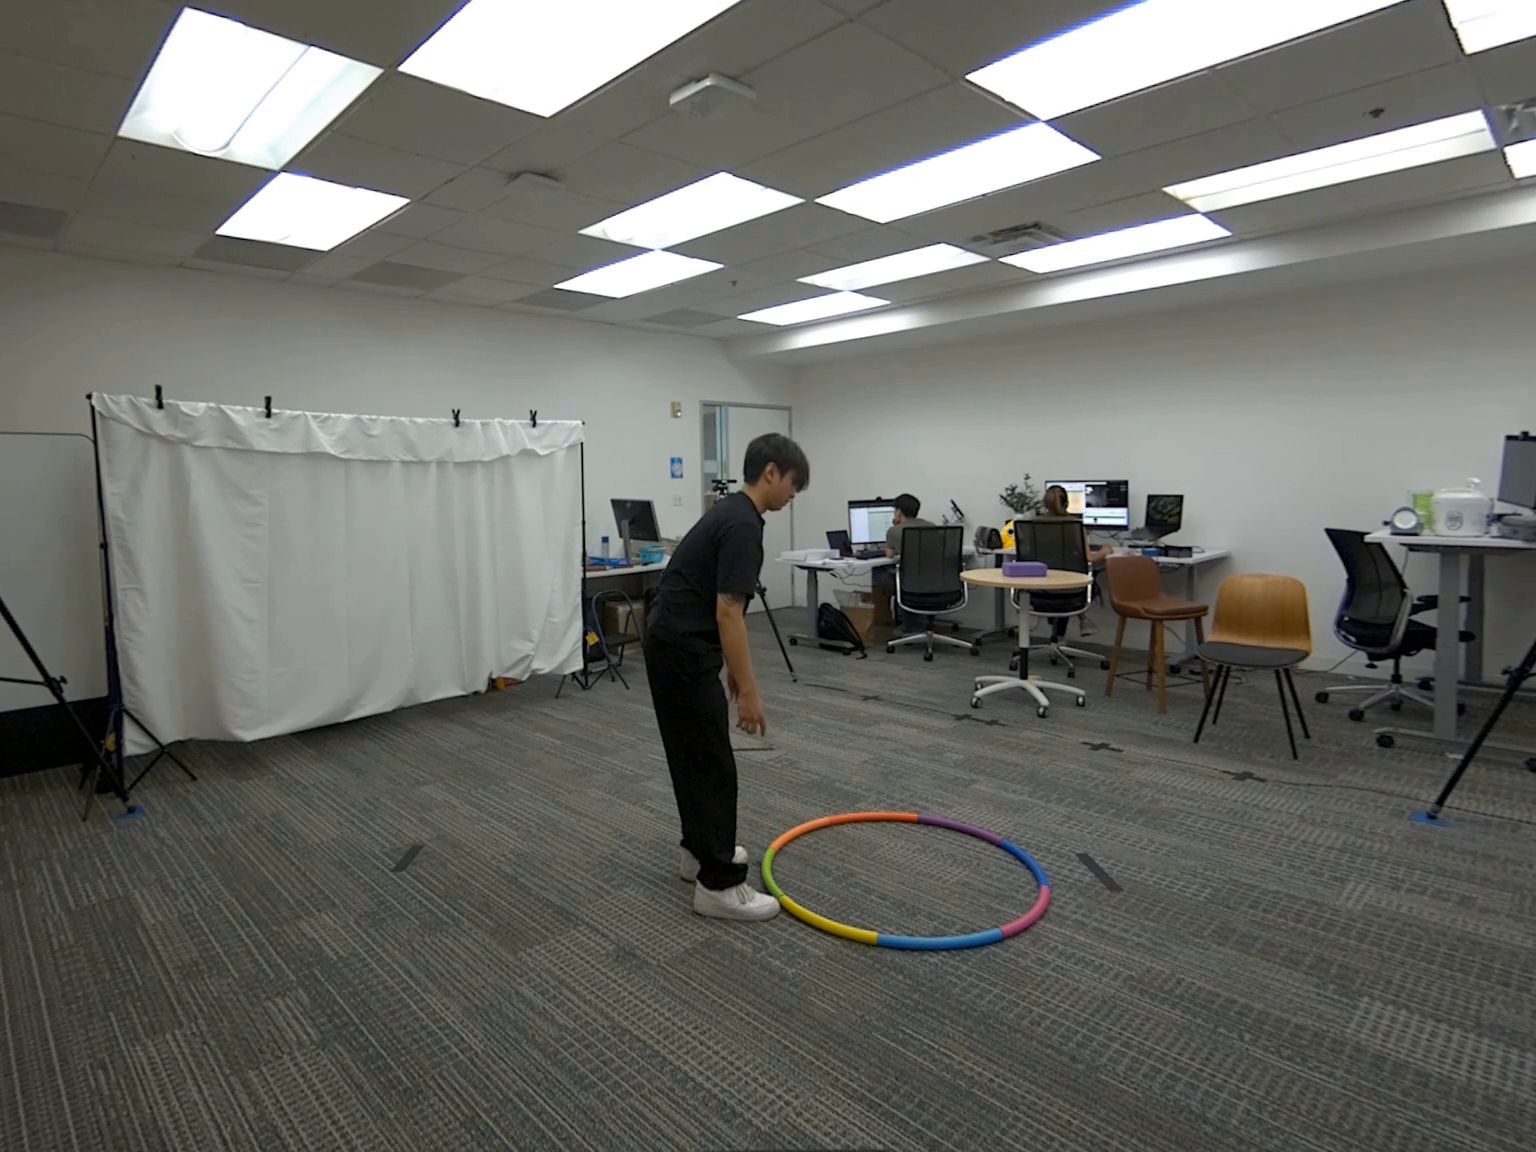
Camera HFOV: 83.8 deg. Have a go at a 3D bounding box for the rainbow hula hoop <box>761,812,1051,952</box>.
[{"bbox_3d":[0.464,1.021,3.004,0.978,0.035,0.984,-1,6,-2],"label":"rainbow hula hoop"}]
